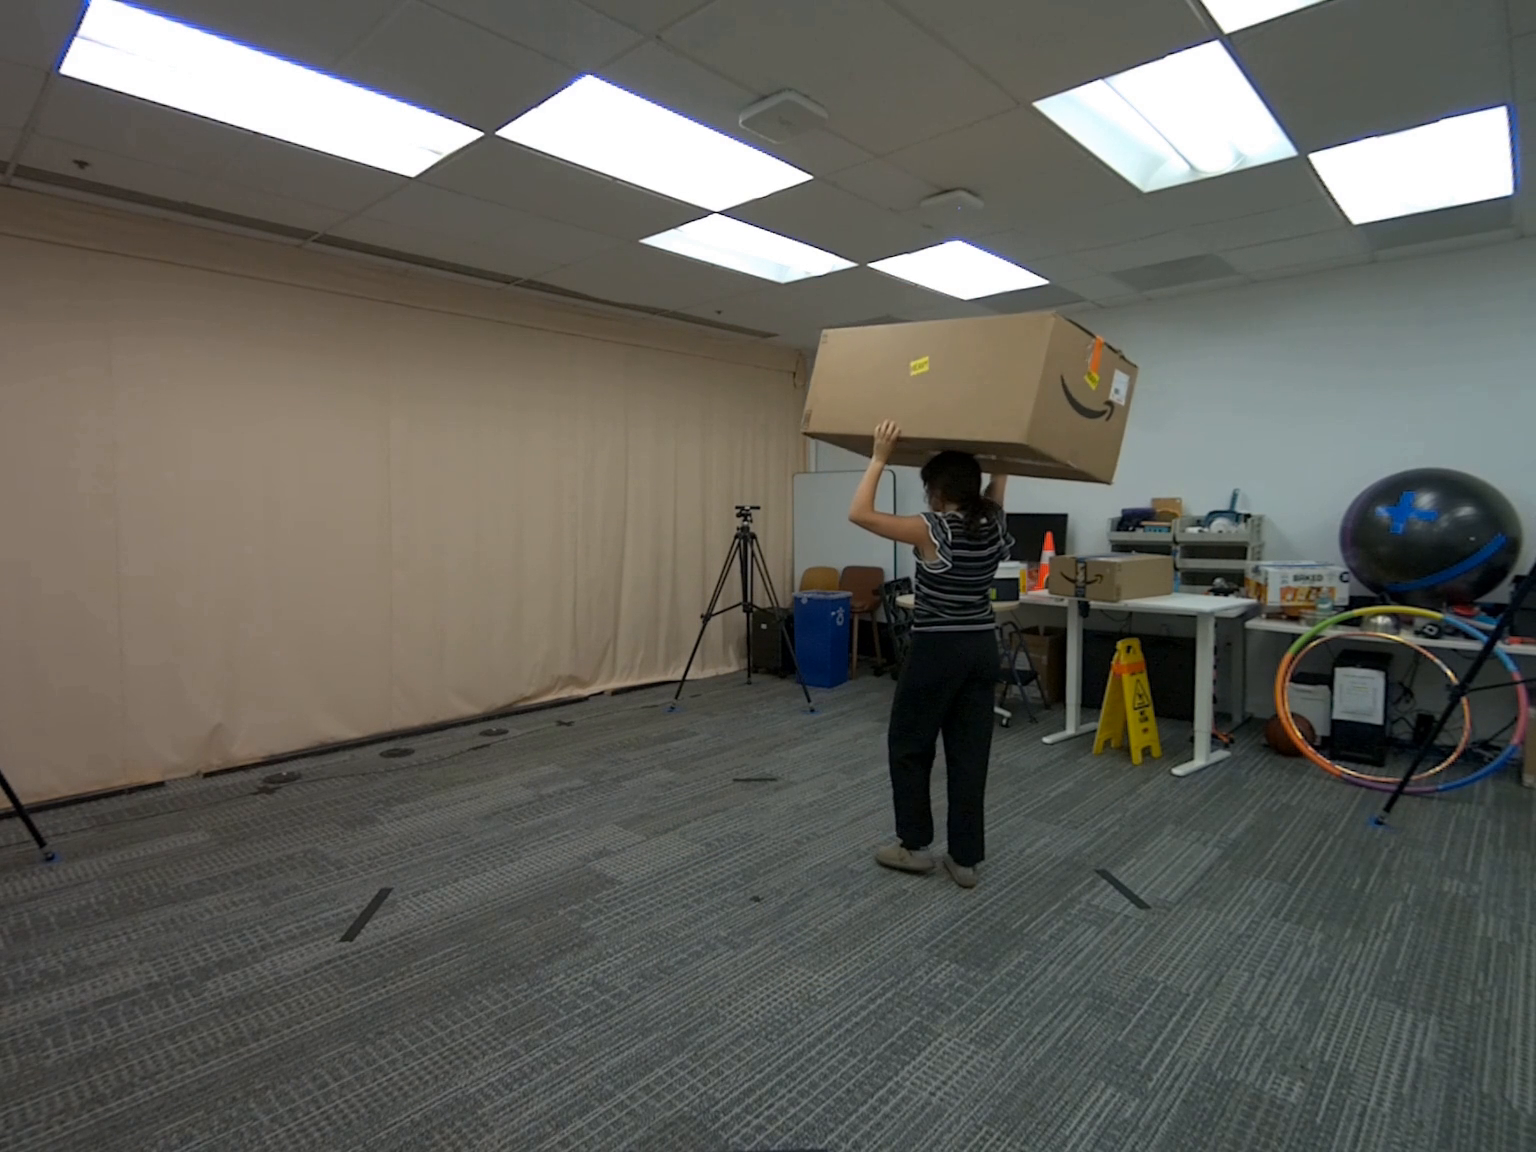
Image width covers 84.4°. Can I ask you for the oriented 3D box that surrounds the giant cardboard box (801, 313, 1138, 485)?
[{"bbox_3d":[0.707,-0.648,3.156,0.558,0.426,1.062,12,2,-41],"label":"giant cardboard box"}]
